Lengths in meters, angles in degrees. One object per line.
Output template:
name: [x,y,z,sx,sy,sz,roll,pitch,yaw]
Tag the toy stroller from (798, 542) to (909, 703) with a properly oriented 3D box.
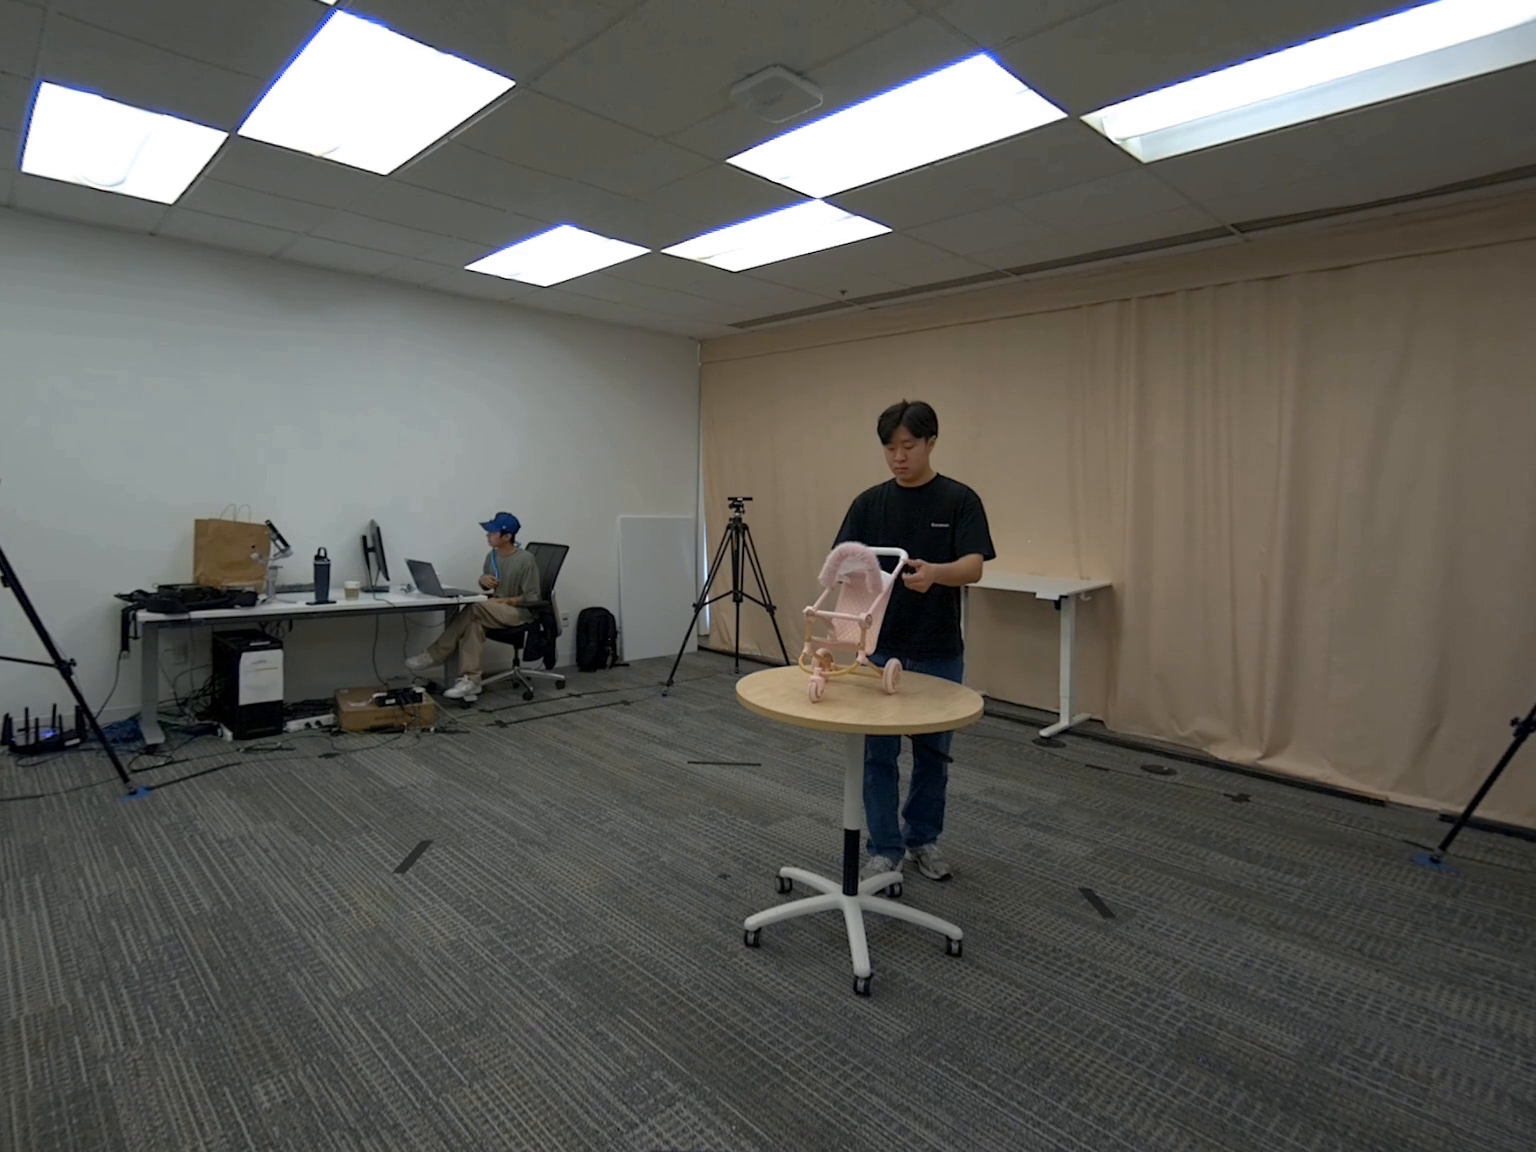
toy stroller: [0.245,0.135,2.631,0.288,0.537,0.331,4,-10,39]
